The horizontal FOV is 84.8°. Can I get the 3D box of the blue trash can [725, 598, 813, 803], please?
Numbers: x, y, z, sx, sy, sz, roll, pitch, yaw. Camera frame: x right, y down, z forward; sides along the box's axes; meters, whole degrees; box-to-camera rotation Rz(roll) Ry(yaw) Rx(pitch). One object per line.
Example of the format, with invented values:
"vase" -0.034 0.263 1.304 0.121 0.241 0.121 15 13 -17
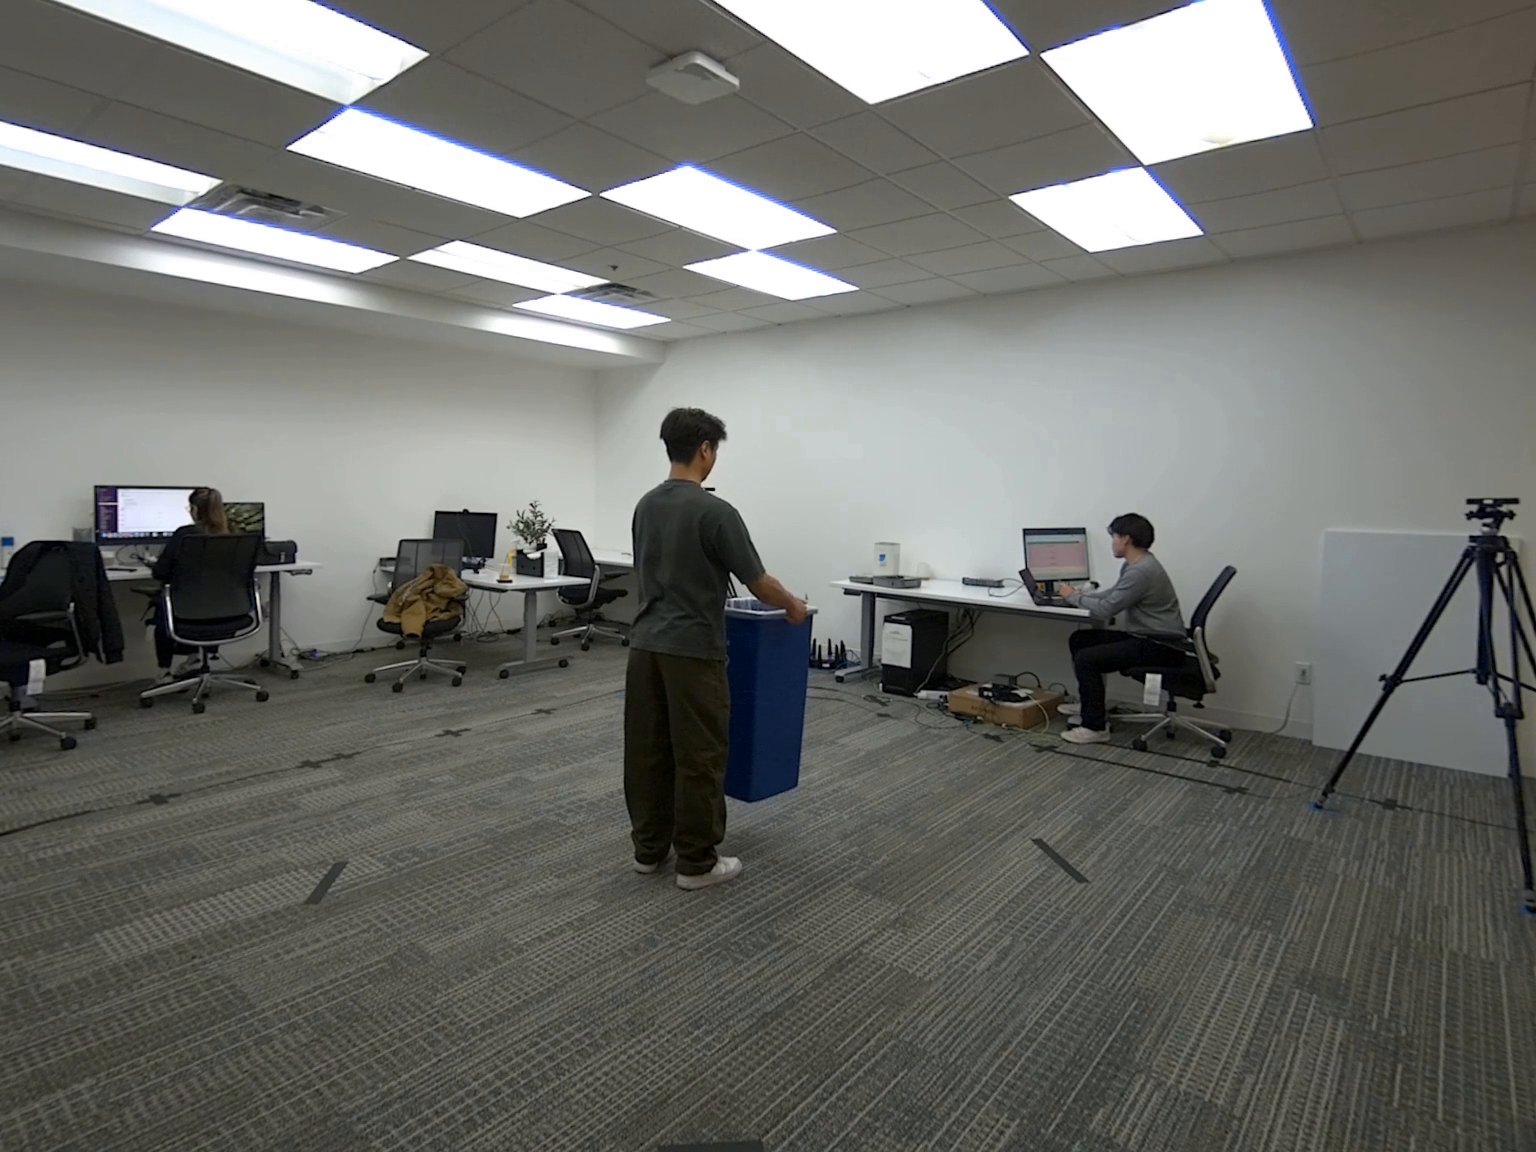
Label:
"blue trash can" -0.076 0.467 3.336 0.391 0.712 0.362 5 4 40
